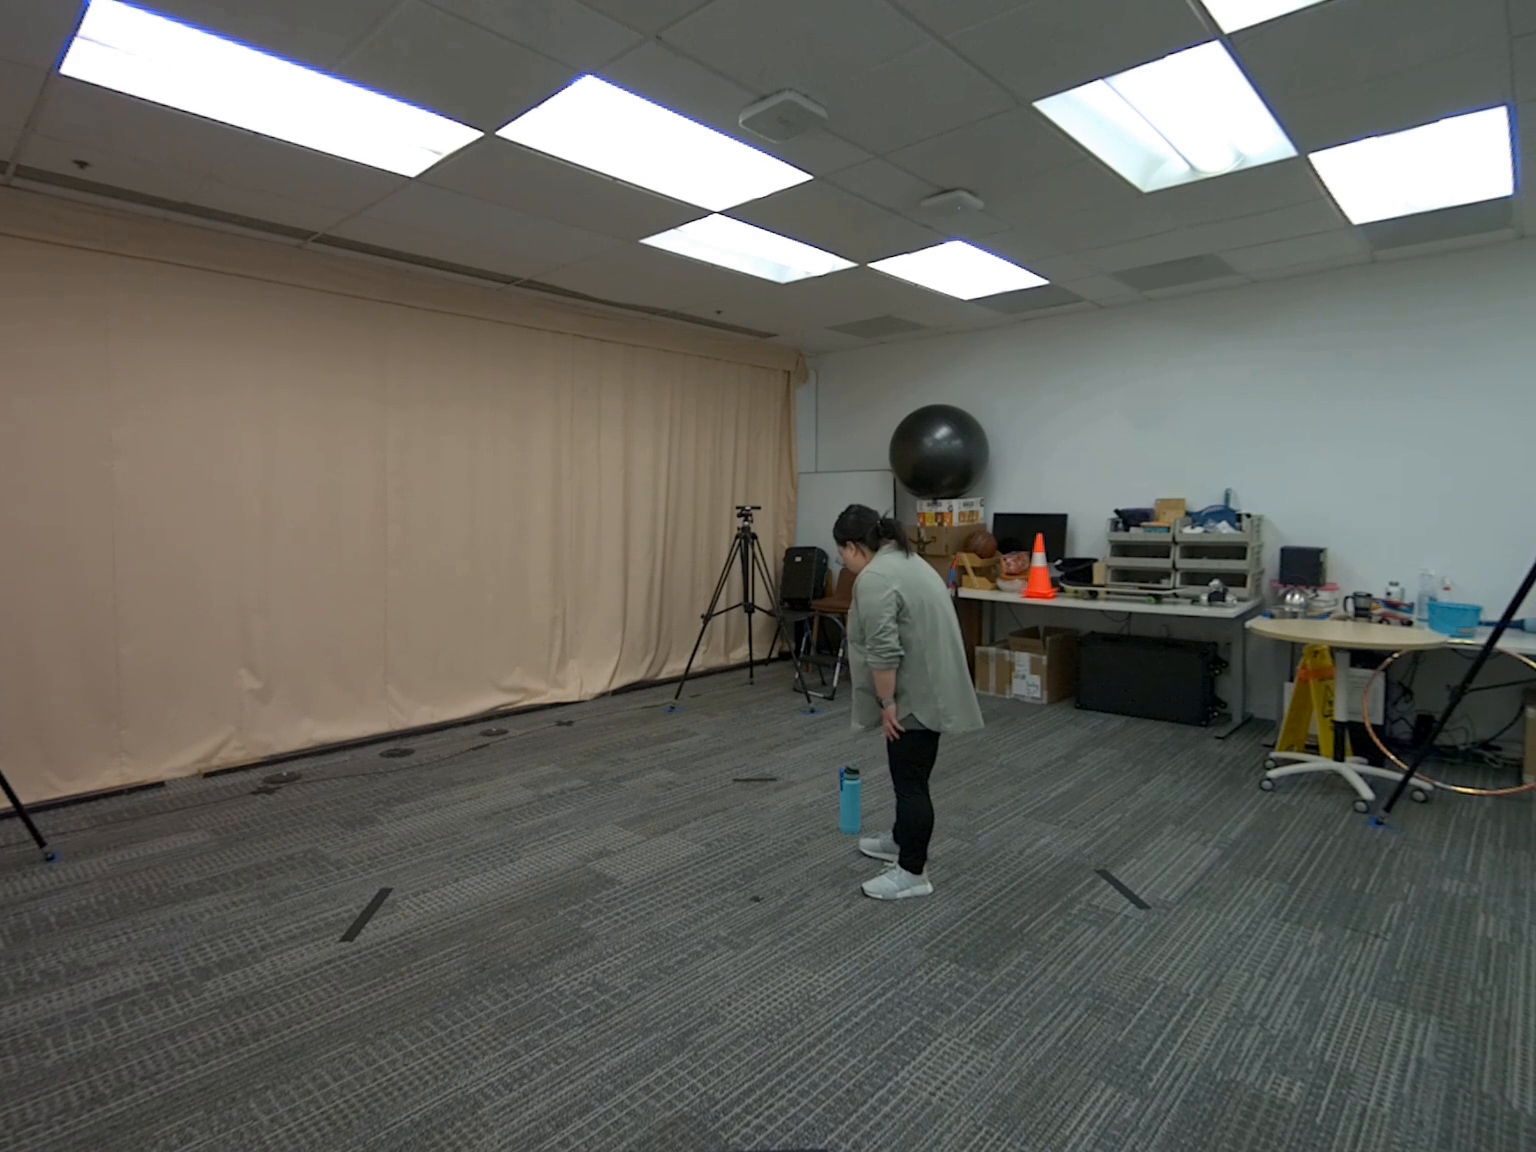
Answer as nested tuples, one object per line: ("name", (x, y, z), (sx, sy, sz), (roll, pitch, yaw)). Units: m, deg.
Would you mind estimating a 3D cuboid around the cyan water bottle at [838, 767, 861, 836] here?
("cyan water bottle", (0.359, 0.953, 3.613), (0.092, 0.283, 0.092), (0, 2, -2))
